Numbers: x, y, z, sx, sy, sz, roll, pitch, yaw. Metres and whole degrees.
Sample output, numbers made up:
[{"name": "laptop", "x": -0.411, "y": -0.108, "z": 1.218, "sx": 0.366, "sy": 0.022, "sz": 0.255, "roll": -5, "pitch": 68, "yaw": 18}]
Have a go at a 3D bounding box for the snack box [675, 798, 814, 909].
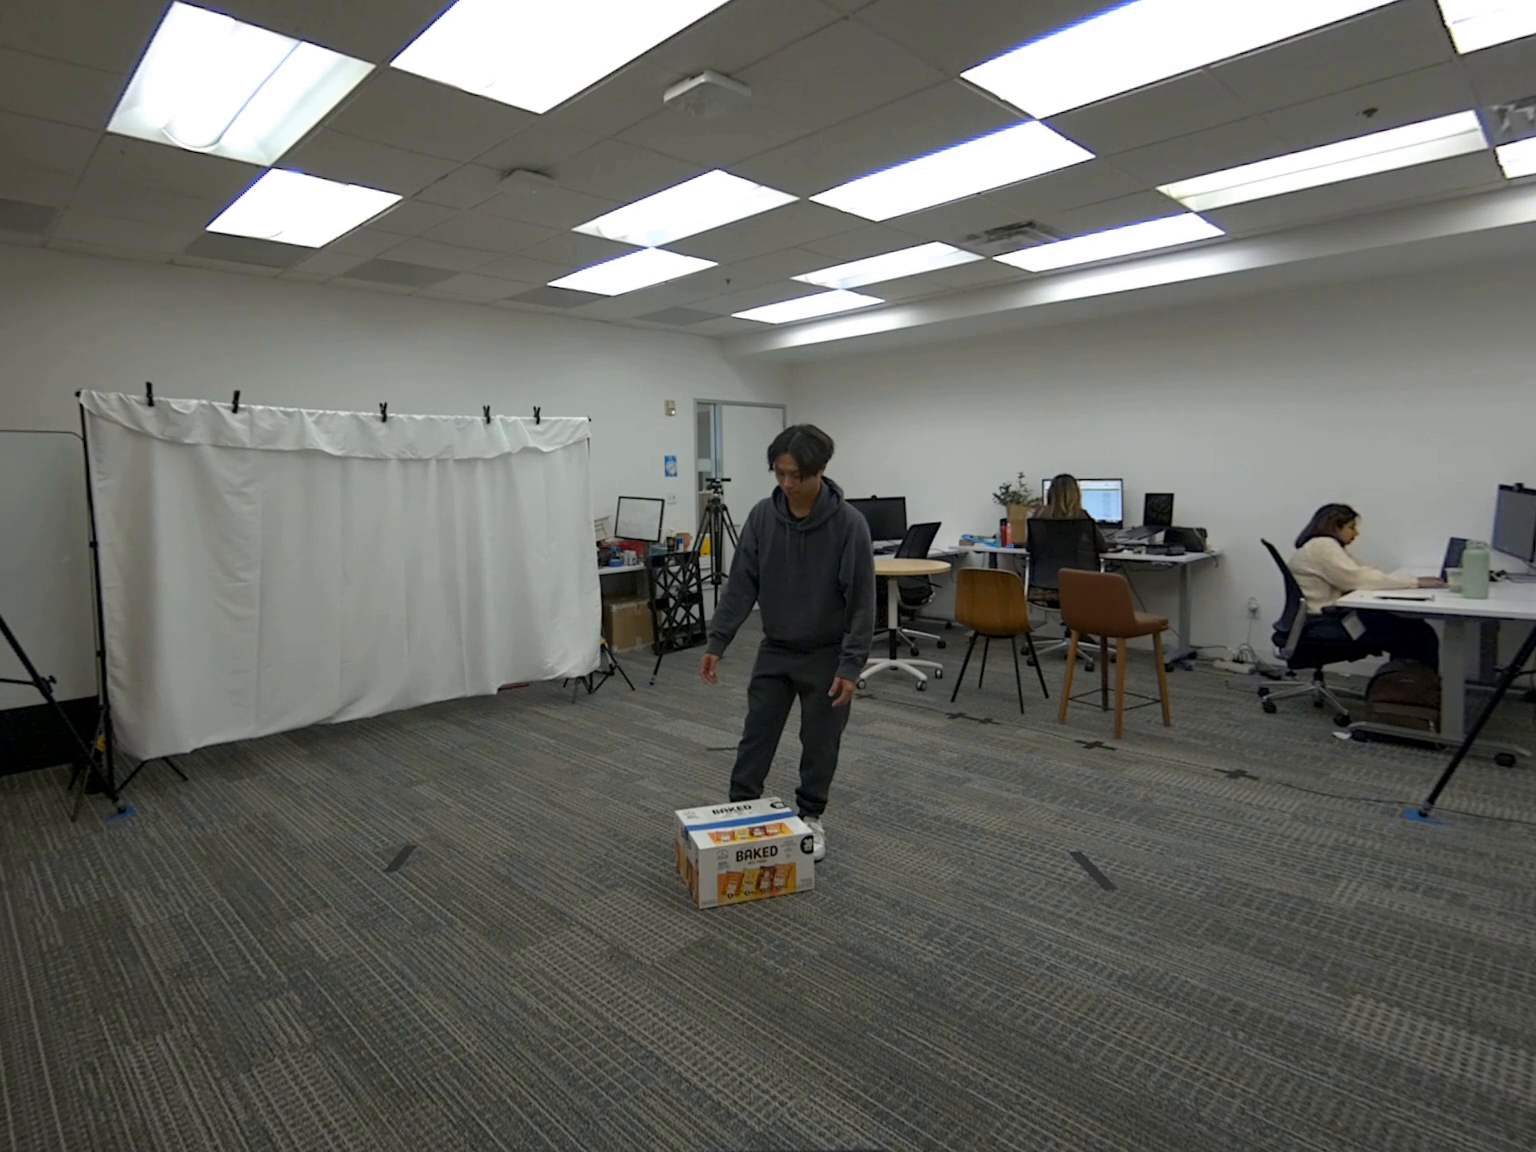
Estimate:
[{"name": "snack box", "x": -0.088, "y": 0.955, "z": 2.984, "sx": 0.399, "sy": 0.205, "sz": 0.347, "roll": -3, "pitch": 6, "yaw": -18}]
